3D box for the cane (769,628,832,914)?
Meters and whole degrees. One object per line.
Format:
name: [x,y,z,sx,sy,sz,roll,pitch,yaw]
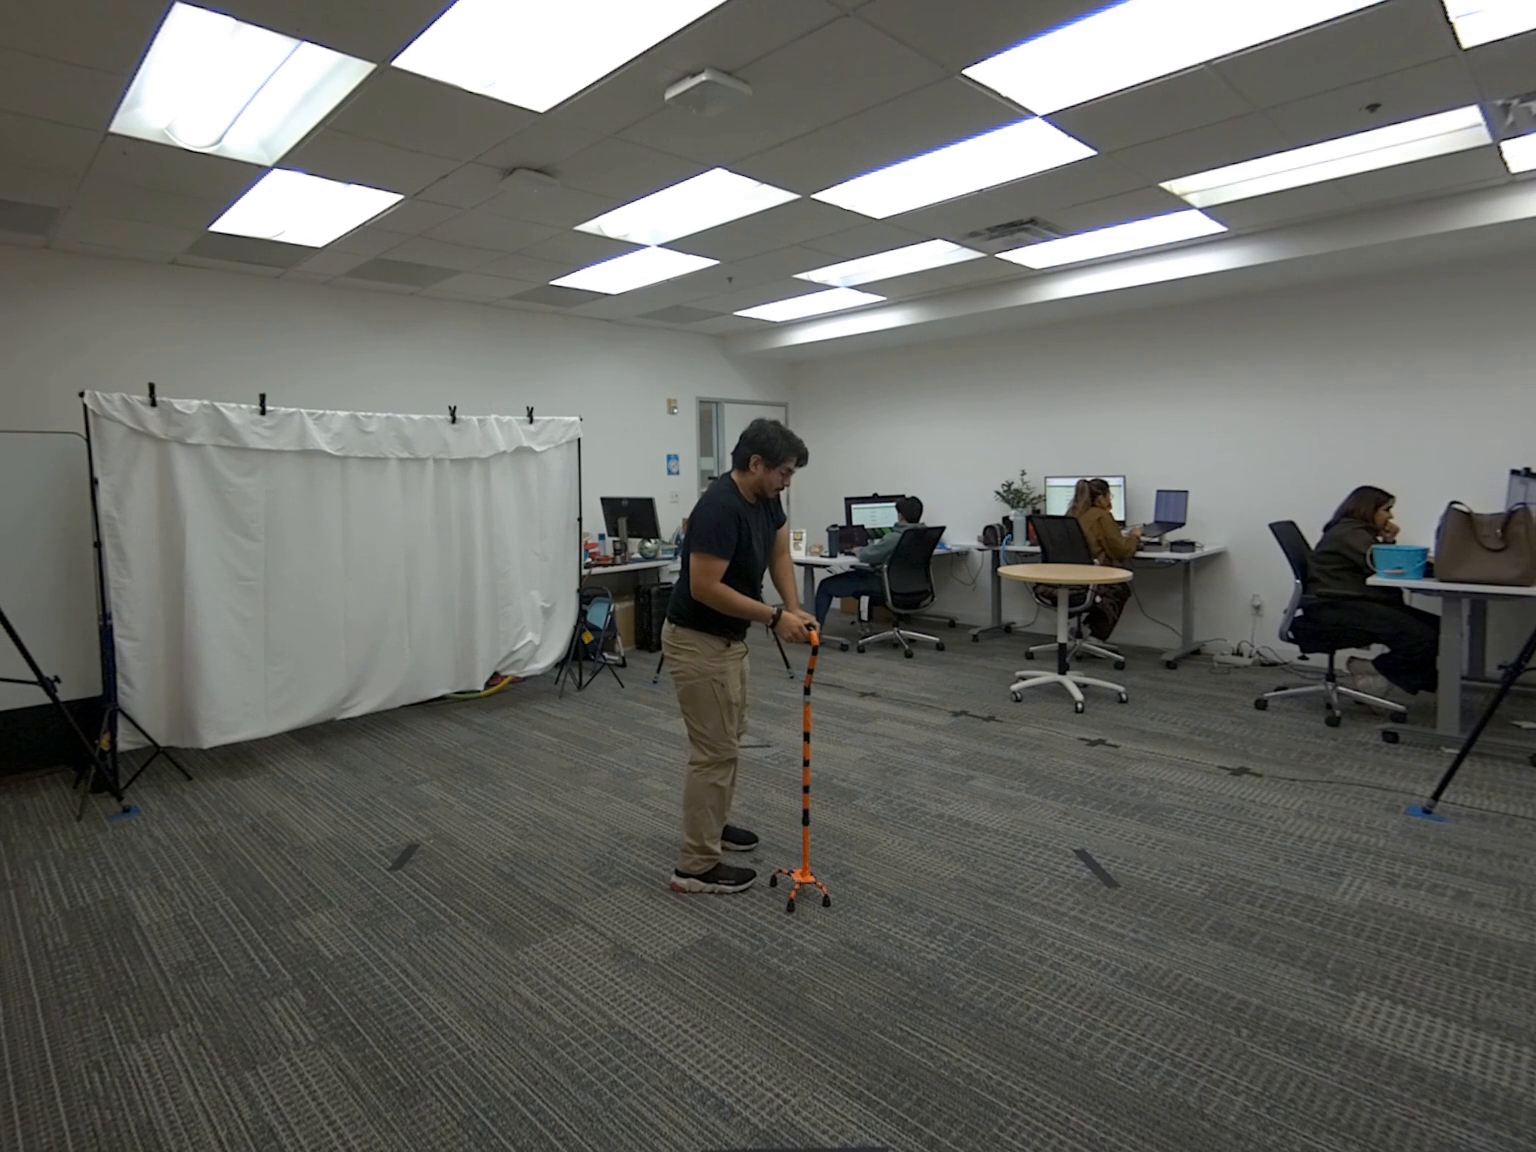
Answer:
cane: [0.110,0.611,2.826,0.149,0.905,0.210,0,3,-19]
